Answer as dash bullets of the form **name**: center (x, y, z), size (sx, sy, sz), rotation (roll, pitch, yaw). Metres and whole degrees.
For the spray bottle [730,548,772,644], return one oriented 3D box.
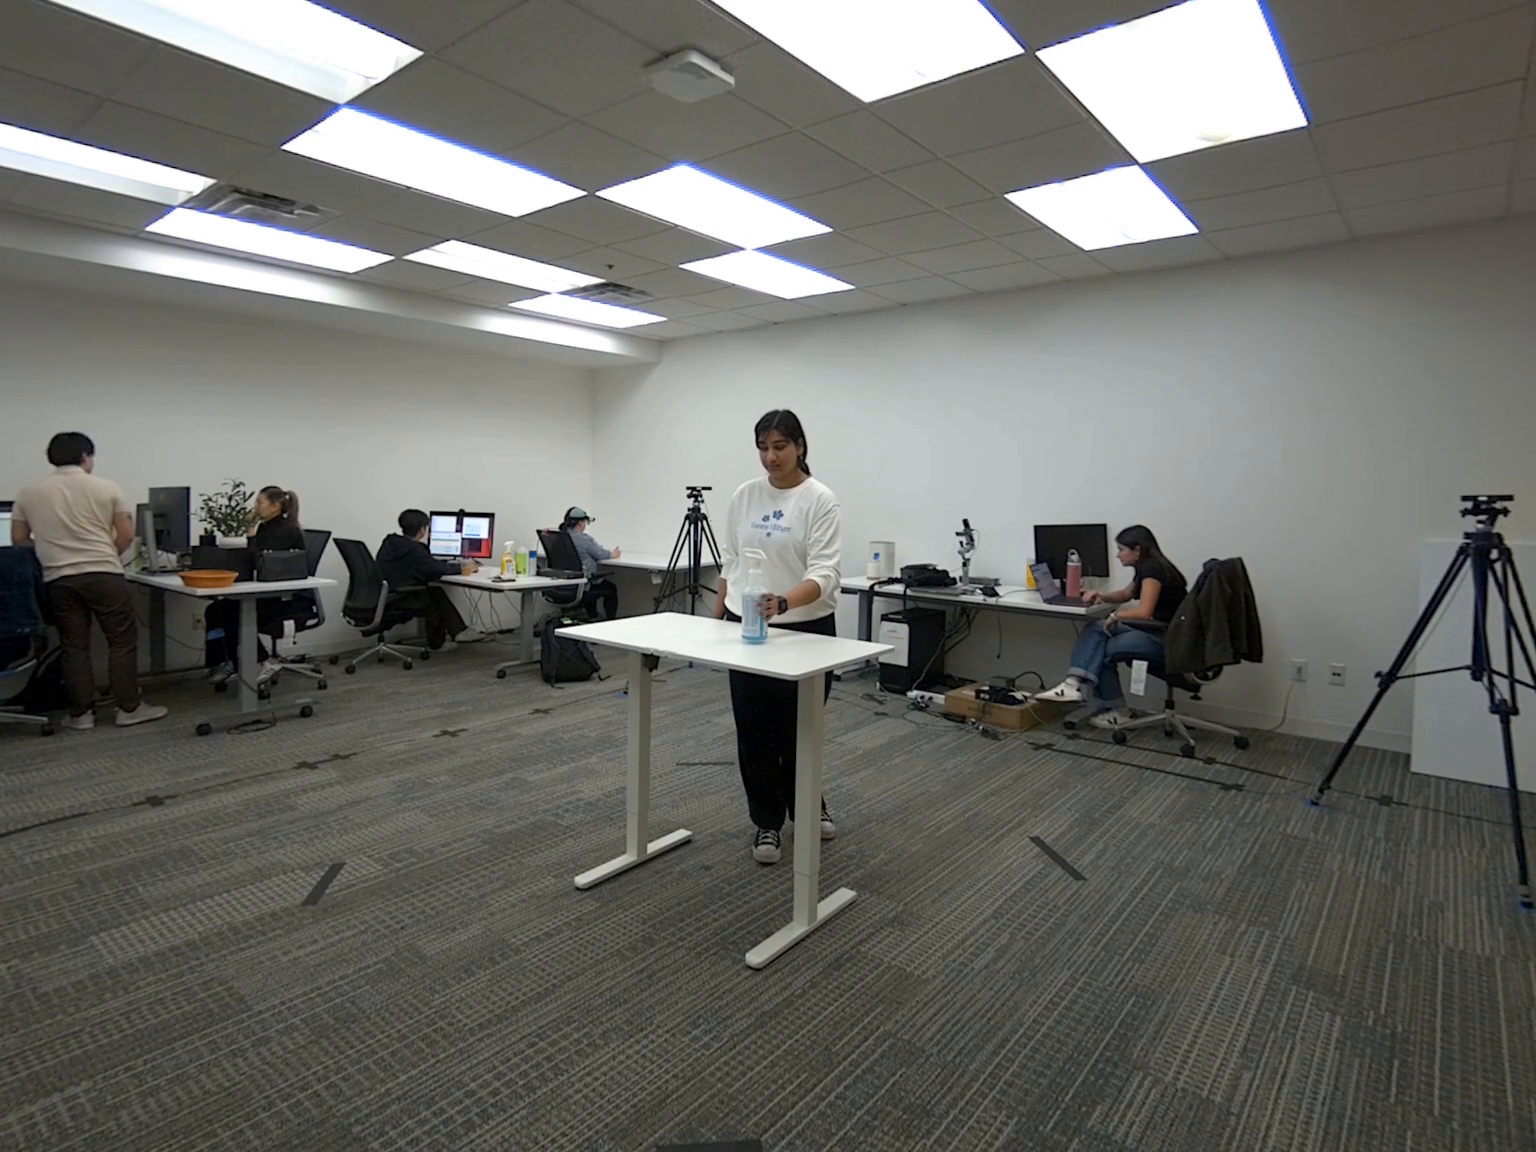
- **spray bottle**: center (-0.046, 0.059, 2.796), size (0.085, 0.297, 0.092), rotation (1, 0, -30)
